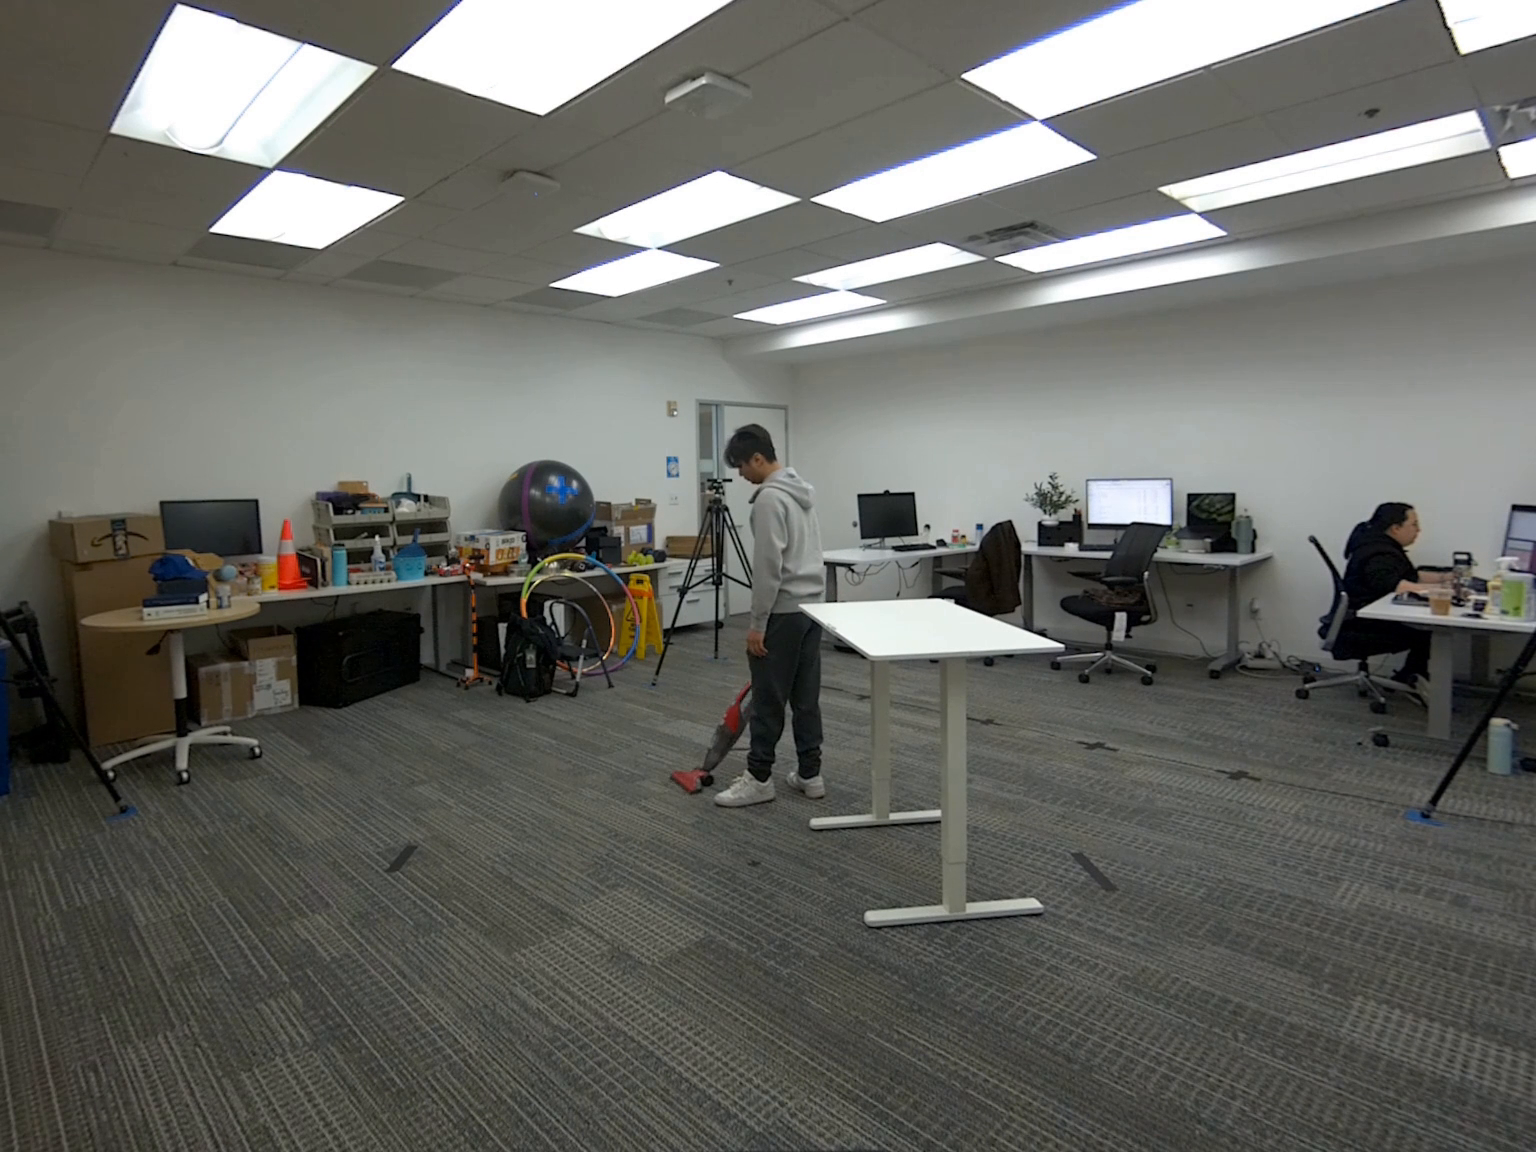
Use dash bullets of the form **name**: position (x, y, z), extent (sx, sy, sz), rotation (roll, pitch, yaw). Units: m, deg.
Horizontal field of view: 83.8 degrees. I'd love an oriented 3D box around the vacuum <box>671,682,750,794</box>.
- **vacuum**: position (-0.059, 0.534, 4.070), extent (0.139, 1.051, 0.260), rotation (44, -16, -29)
